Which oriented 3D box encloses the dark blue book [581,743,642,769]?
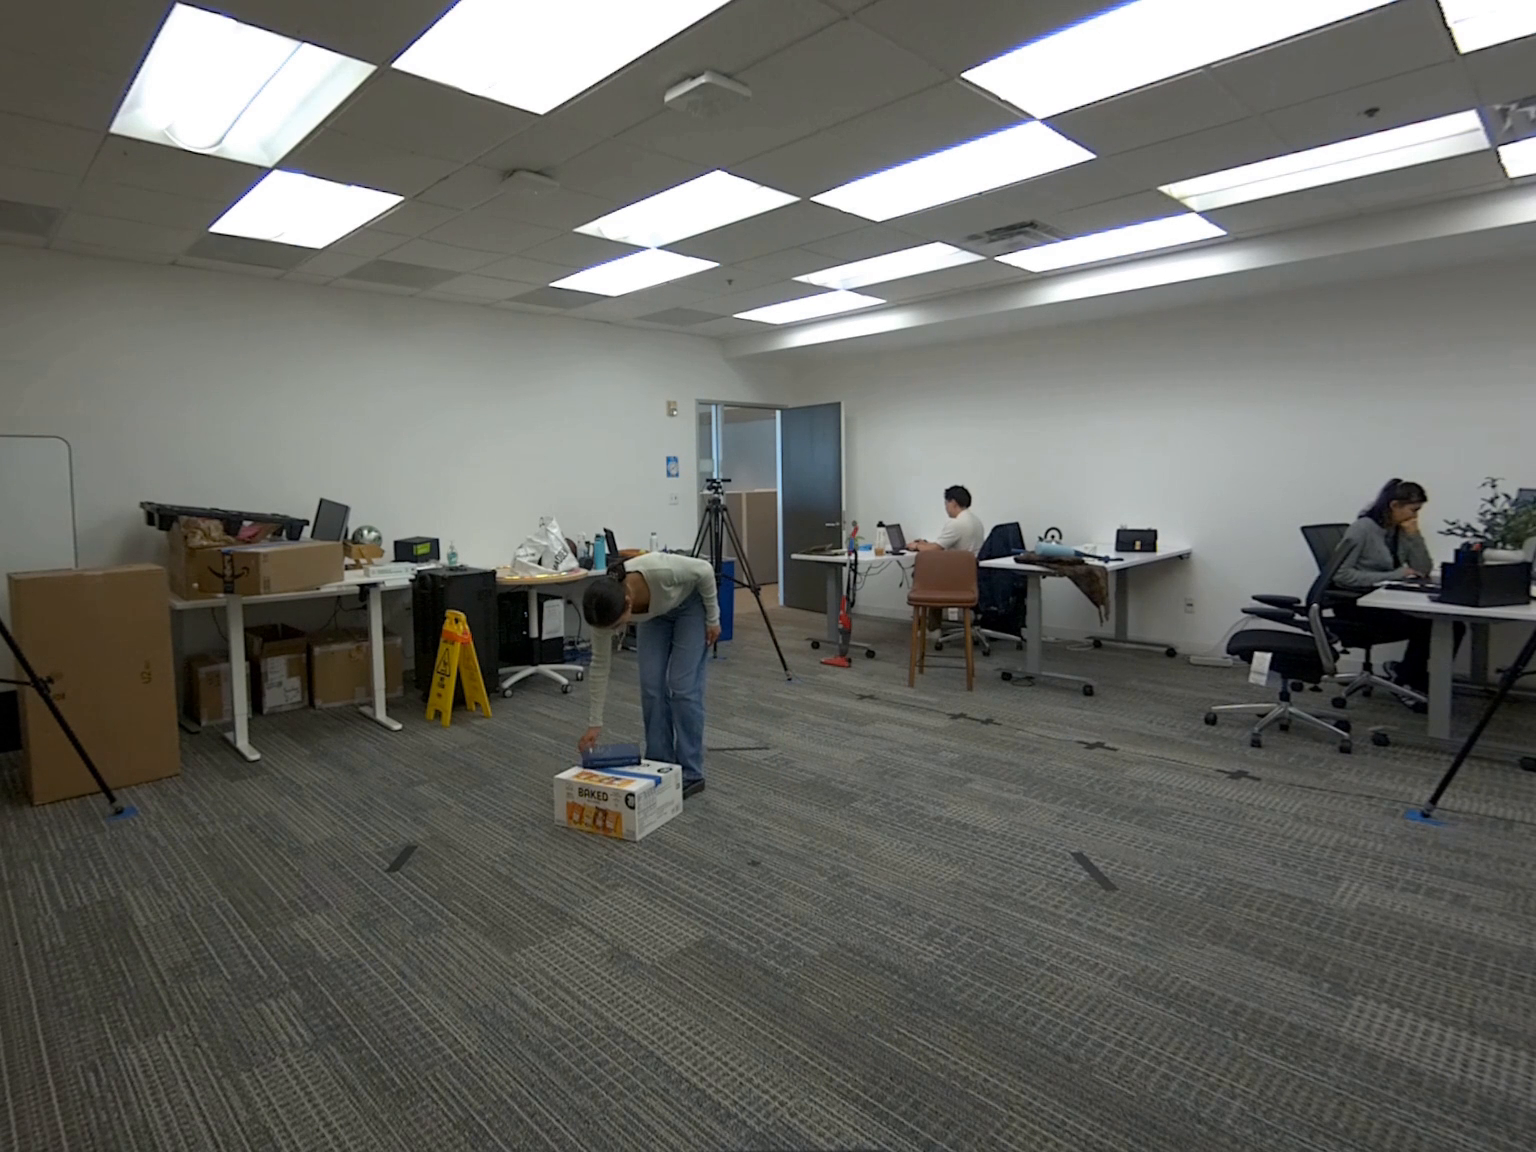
[{"bbox_3d":[-0.672,0.775,3.665,0.242,0.045,0.166,-2,8,-12],"label":"dark blue book"}]
